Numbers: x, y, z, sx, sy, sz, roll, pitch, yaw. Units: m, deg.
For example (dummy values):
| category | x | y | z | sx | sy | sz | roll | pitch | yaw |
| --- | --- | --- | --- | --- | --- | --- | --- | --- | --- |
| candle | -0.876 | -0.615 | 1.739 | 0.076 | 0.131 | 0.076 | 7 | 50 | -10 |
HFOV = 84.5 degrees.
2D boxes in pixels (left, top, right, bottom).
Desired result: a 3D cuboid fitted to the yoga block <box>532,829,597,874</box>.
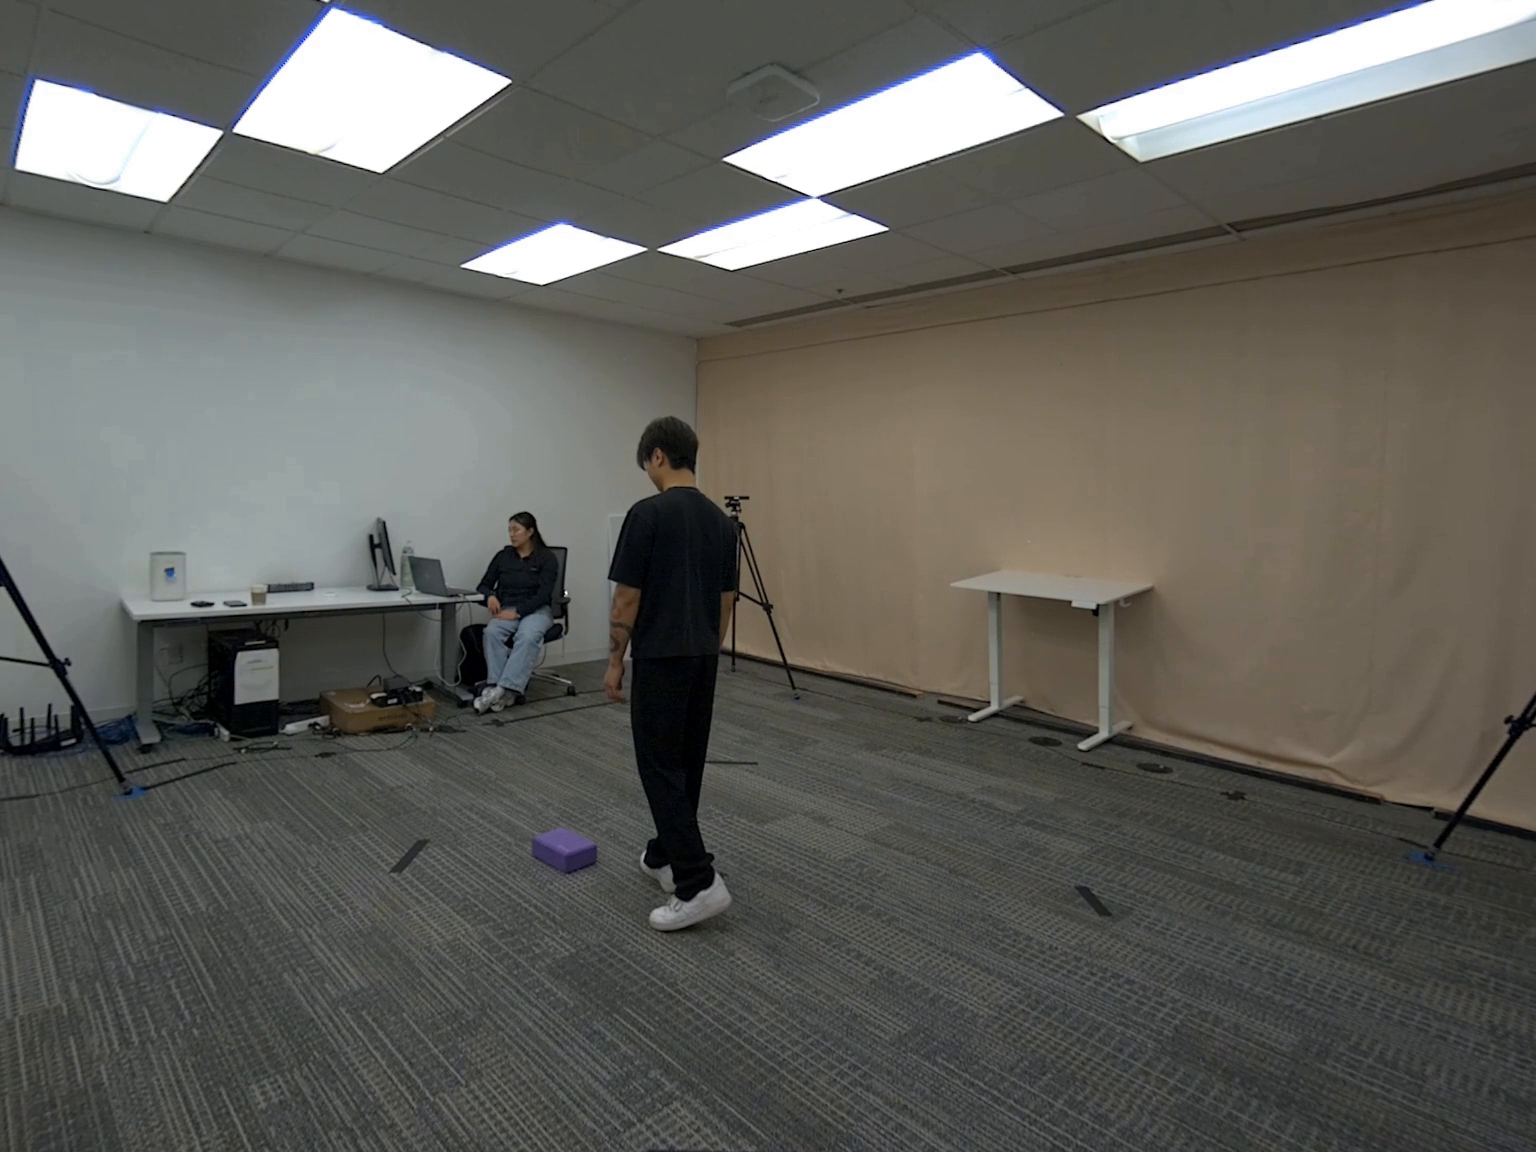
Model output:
| category | x | y | z | sx | sy | sz | roll | pitch | yaw |
| --- | --- | --- | --- | --- | --- | --- | --- | --- | --- |
| yoga block | -0.781 | 1.043 | 3.200 | 0.235 | 0.076 | 0.146 | 5 | 7 | 41 |
